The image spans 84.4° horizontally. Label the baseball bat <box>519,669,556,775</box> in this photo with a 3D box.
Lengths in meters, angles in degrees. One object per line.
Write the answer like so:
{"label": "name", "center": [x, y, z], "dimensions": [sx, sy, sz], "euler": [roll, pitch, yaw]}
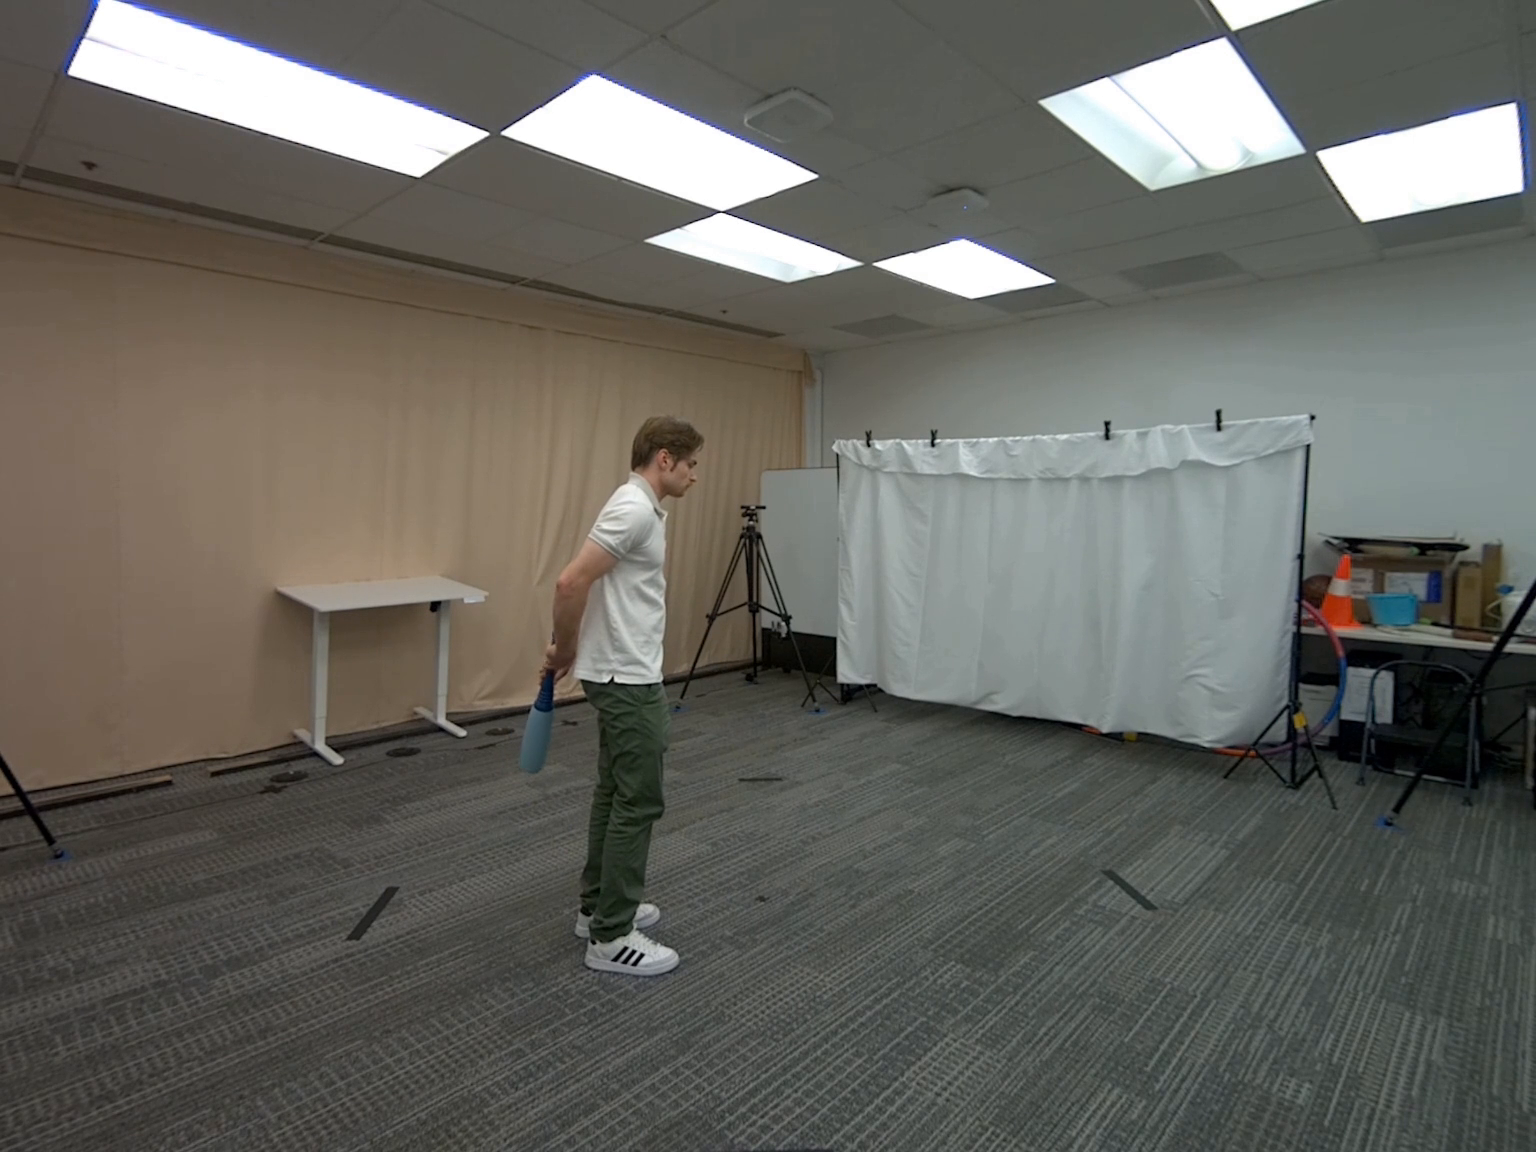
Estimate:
{"label": "baseball bat", "center": [-0.747, 0.422, 2.792], "dimensions": [0.088, 0.540, 0.090], "euler": [13, 19, -6]}
